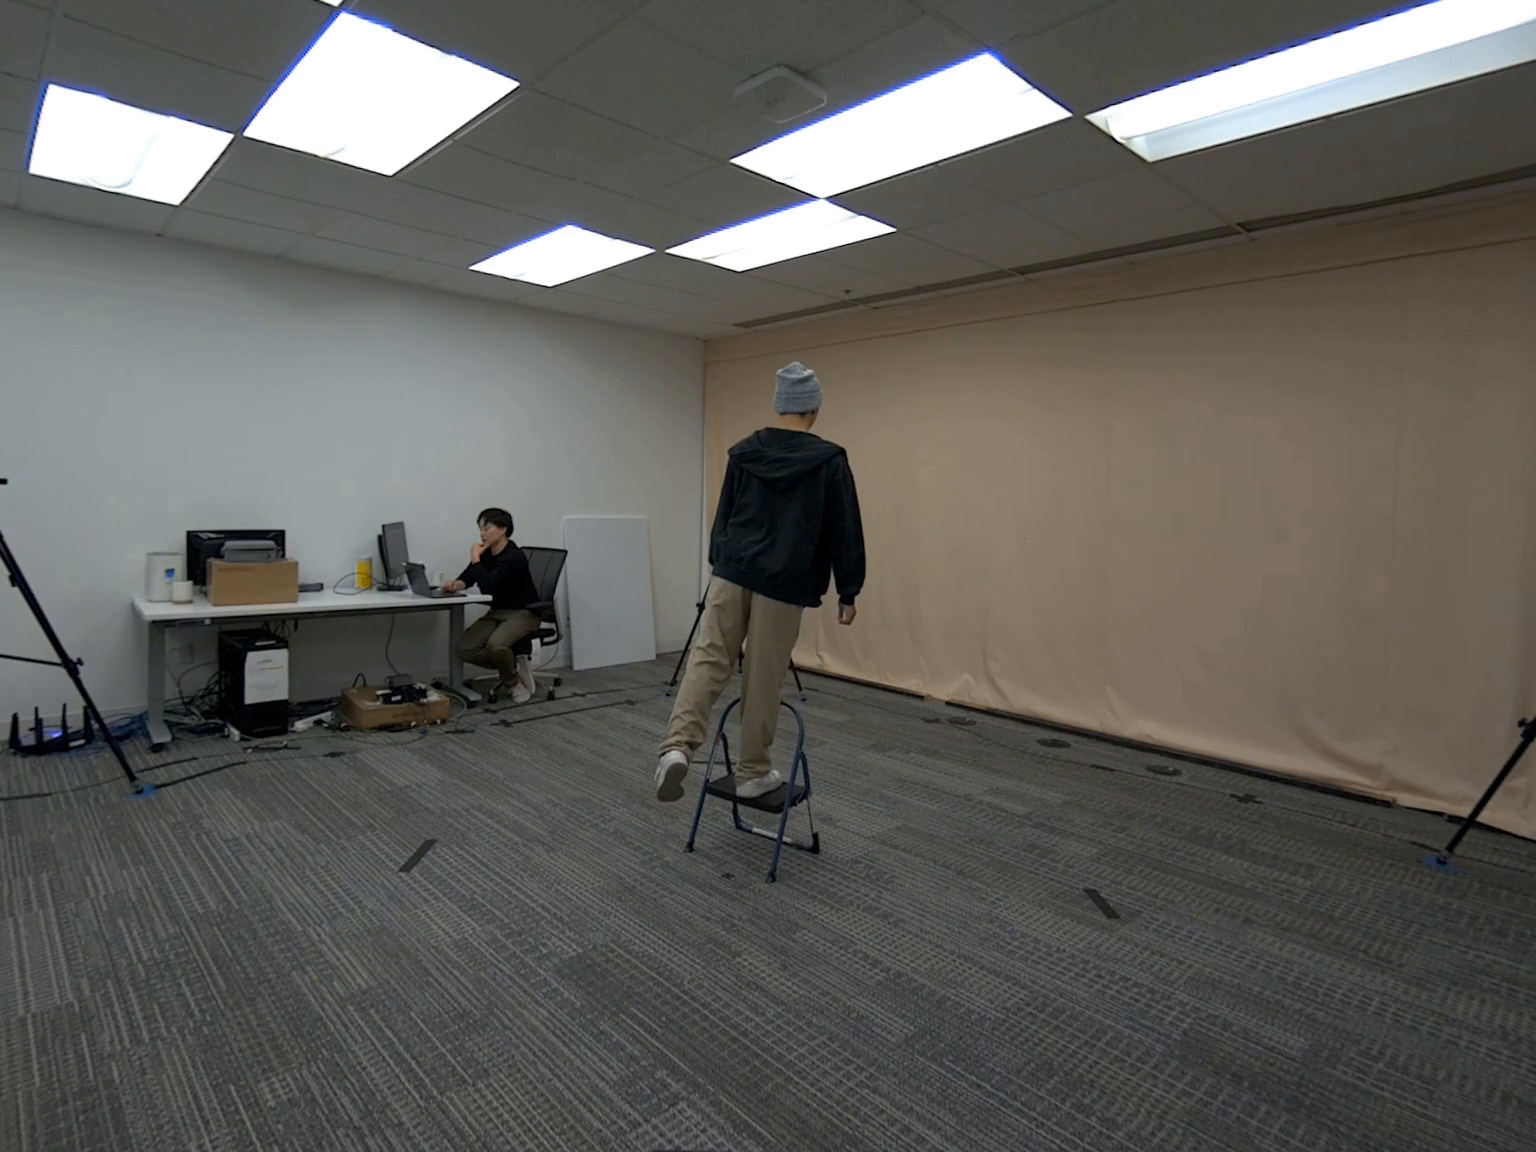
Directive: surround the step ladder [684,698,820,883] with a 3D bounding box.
[{"bbox_3d":[-0.056,0.790,3.308,0.441,0.605,0.341,4,4,36],"label":"step ladder"}]
